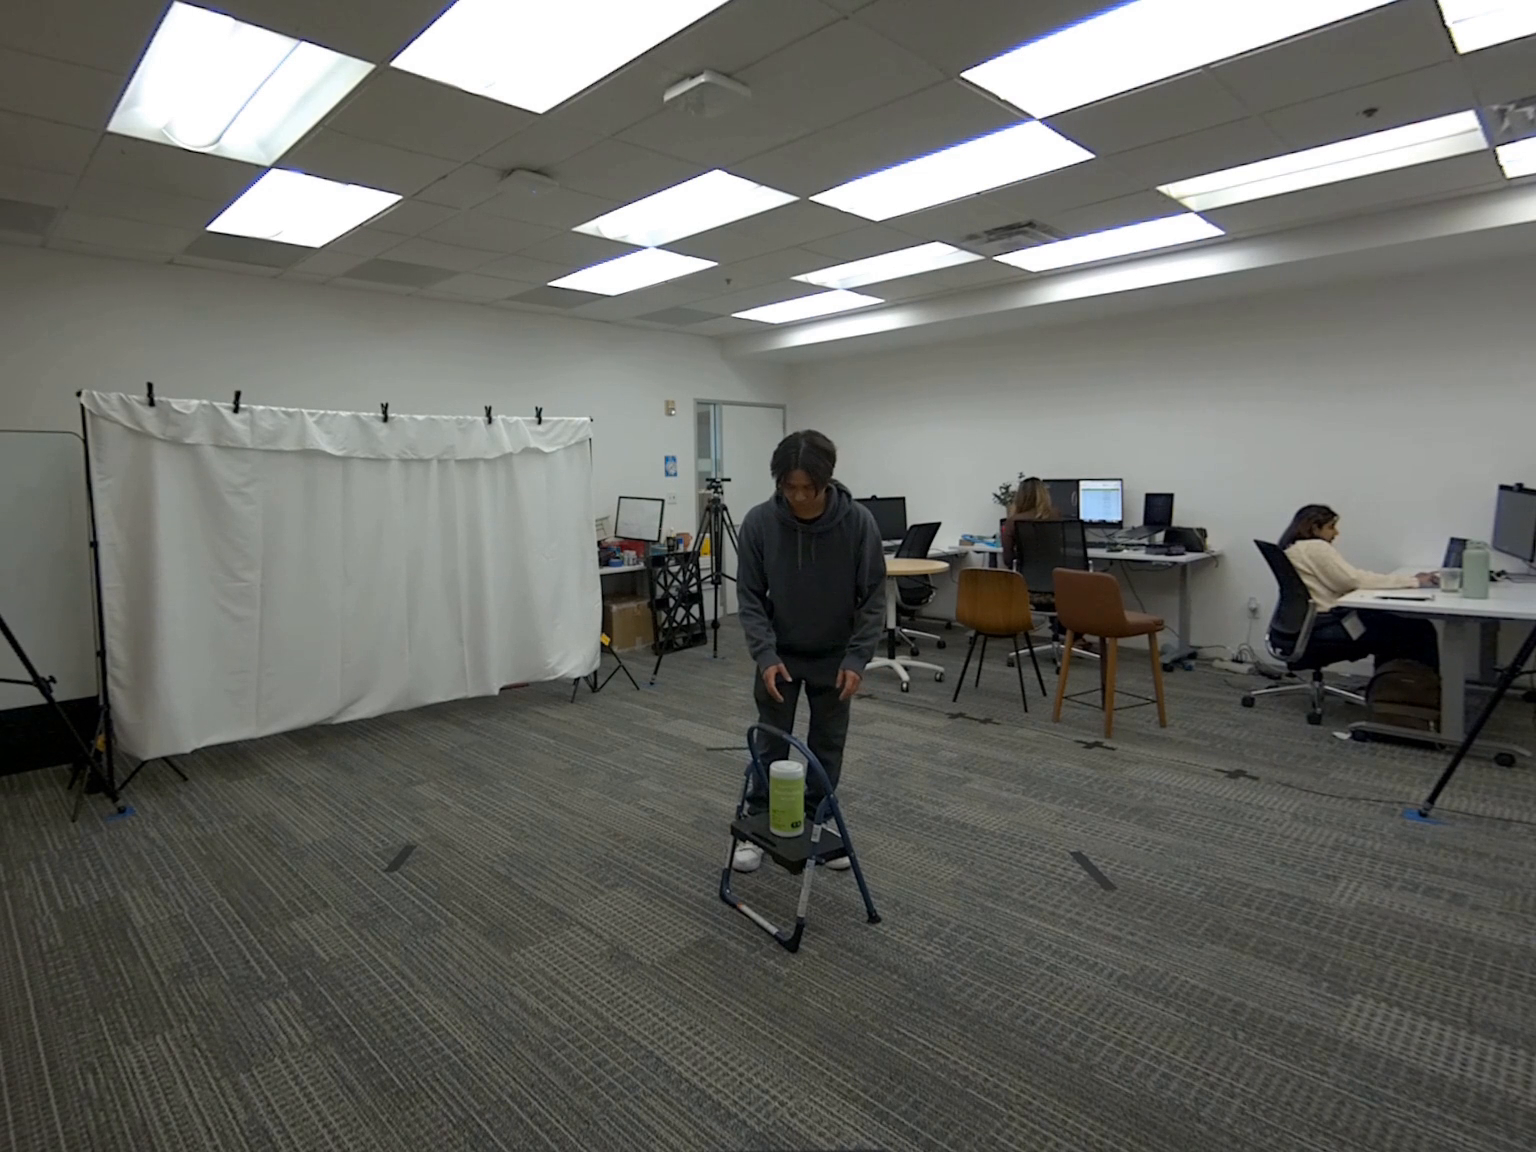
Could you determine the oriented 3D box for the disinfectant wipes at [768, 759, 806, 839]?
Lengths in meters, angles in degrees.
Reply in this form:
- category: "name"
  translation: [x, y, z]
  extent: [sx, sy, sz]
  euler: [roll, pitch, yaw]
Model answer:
- category: "disinfectant wipes"
  translation: [0.064, 0.718, 2.738]
  extent: [0.118, 0.216, 0.118]
  euler: [-1, 4, -2]
